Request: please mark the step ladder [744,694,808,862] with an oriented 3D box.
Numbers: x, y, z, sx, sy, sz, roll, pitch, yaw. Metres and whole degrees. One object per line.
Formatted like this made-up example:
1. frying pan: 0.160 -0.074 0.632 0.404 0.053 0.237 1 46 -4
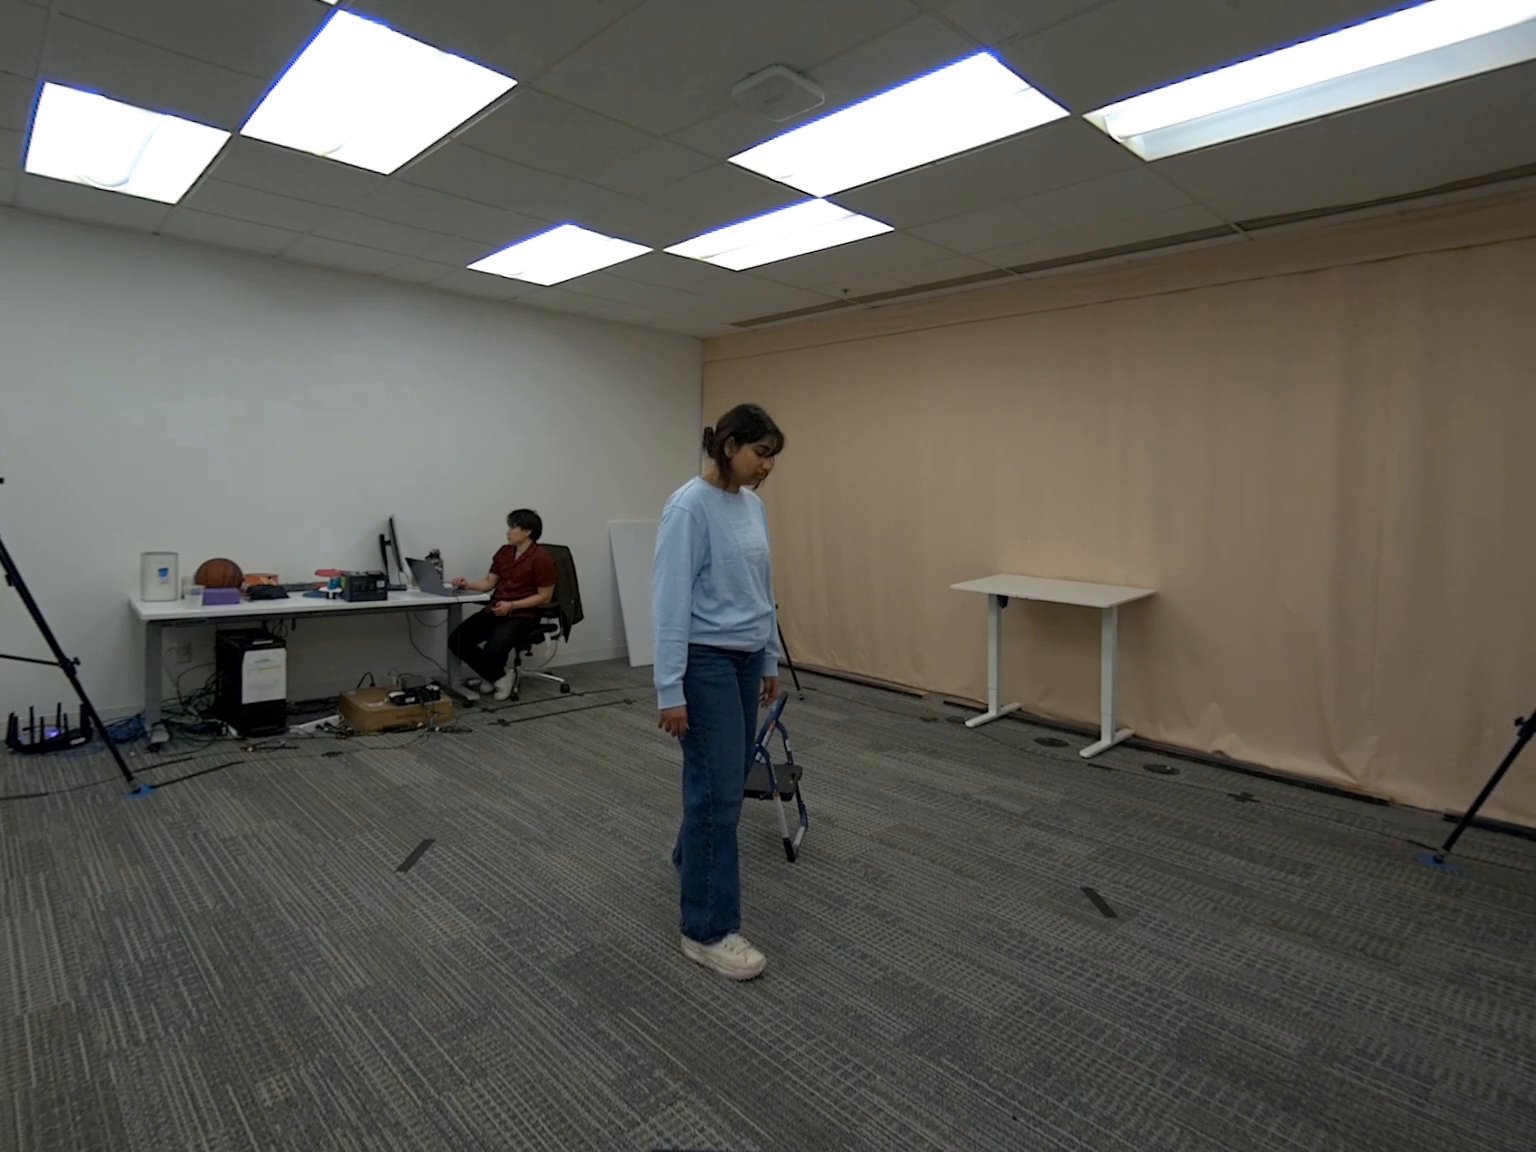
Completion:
1. step ladder: -0.027 0.773 3.441 0.352 0.605 0.427 2 3 11
